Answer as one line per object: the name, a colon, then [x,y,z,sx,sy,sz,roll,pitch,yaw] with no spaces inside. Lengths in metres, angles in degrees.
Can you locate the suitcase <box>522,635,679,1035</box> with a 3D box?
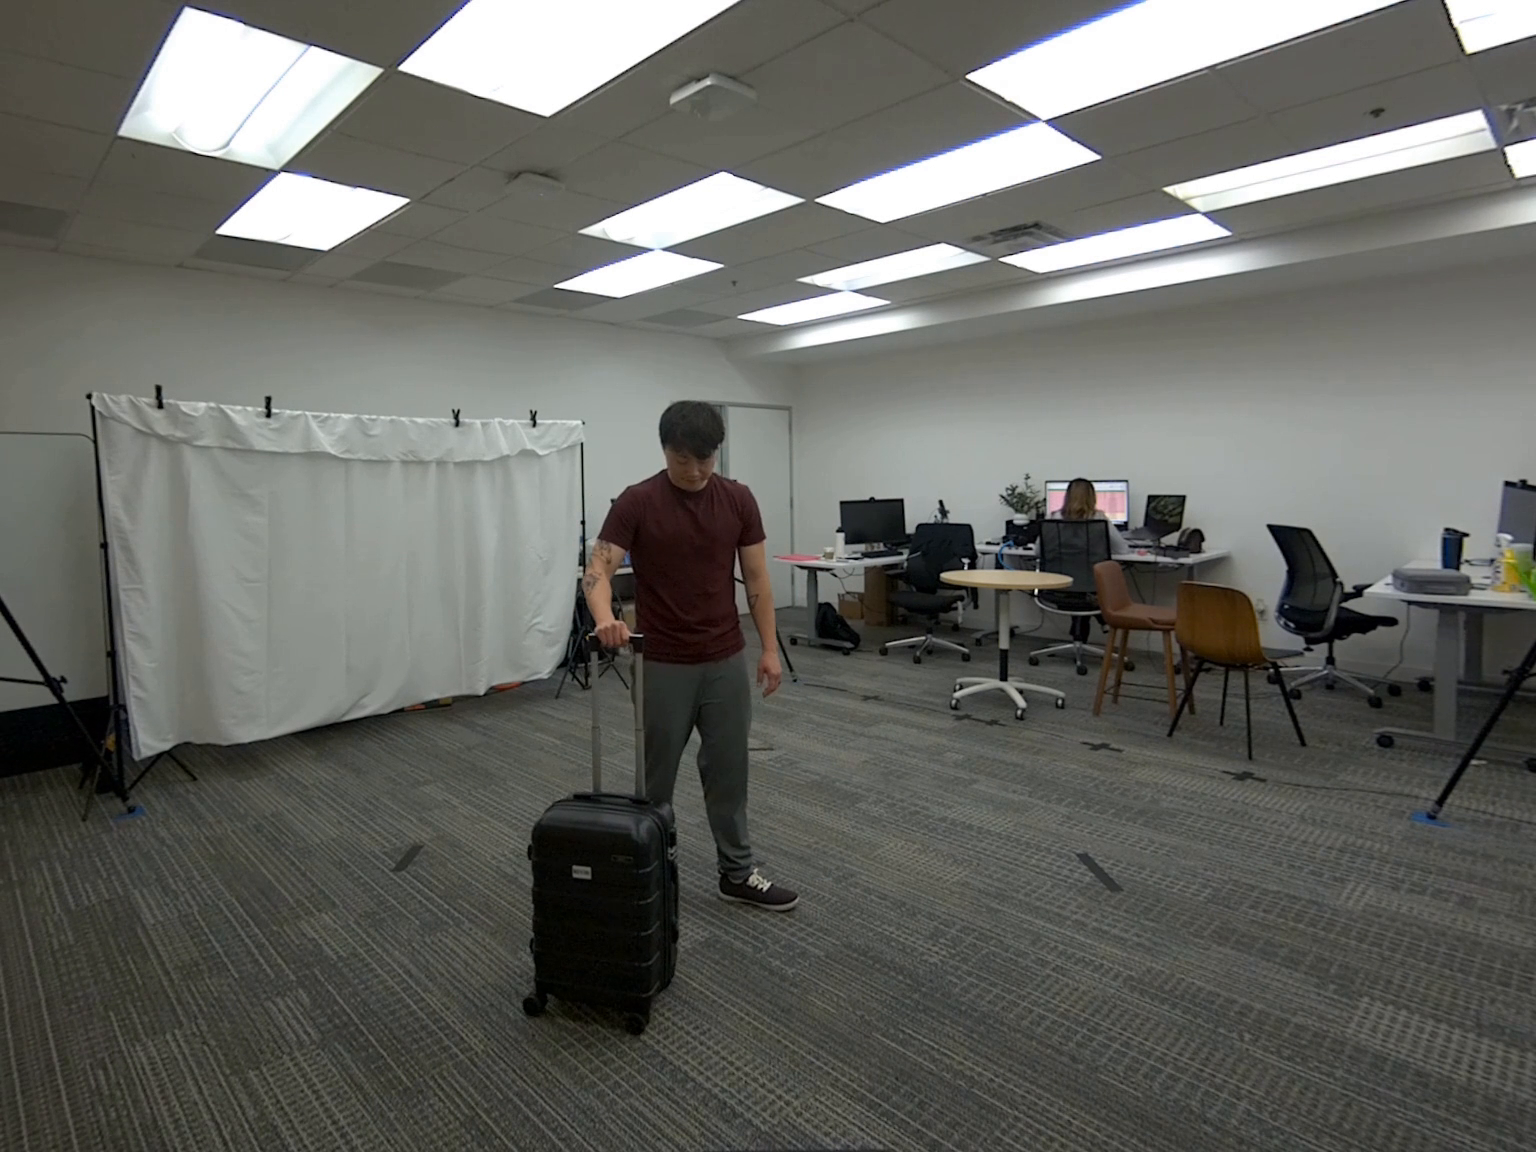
suitcase: [-0.435,0.675,2.280,0.389,0.973,0.255,1,6,12]
